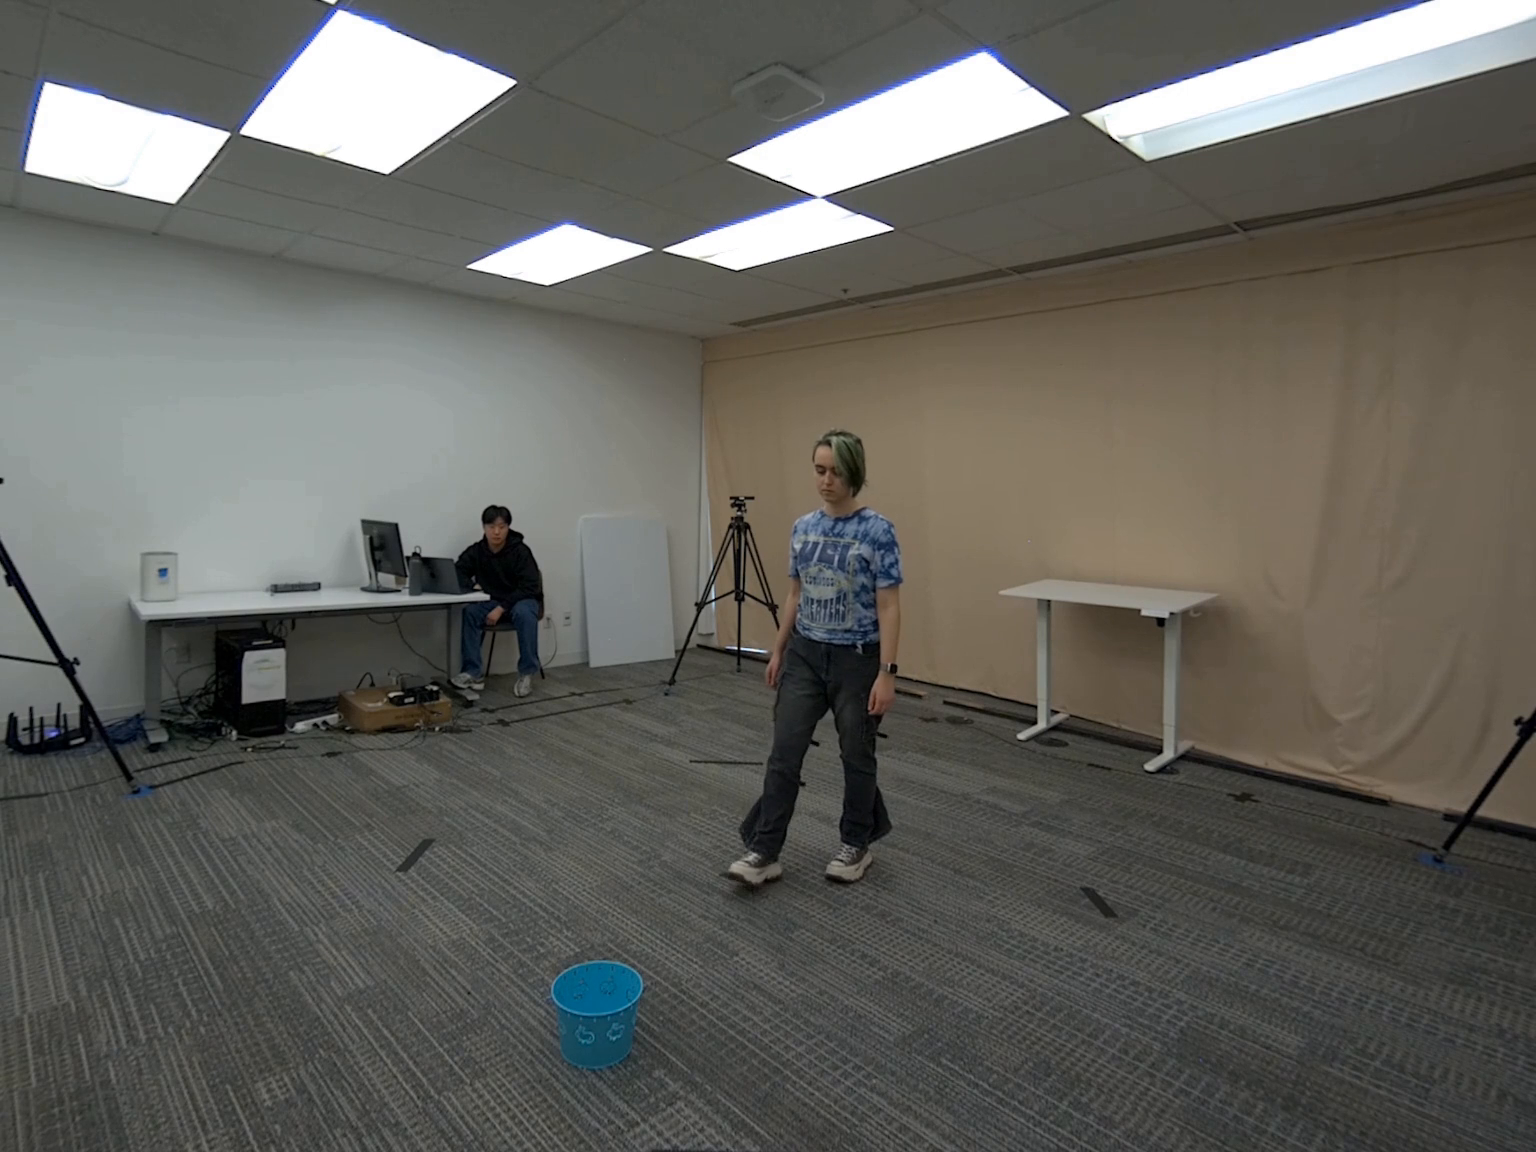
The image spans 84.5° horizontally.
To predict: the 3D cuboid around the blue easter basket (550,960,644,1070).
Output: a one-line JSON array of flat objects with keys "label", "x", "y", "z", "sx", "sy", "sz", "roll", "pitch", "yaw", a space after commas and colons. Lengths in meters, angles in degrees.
[{"label": "blue easter basket", "x": -0.435, "y": 1.115, "z": 2.121, "sx": 0.243, "sy": 0.155, "sz": 0.244, "roll": 1, "pitch": 5, "yaw": -1}]
